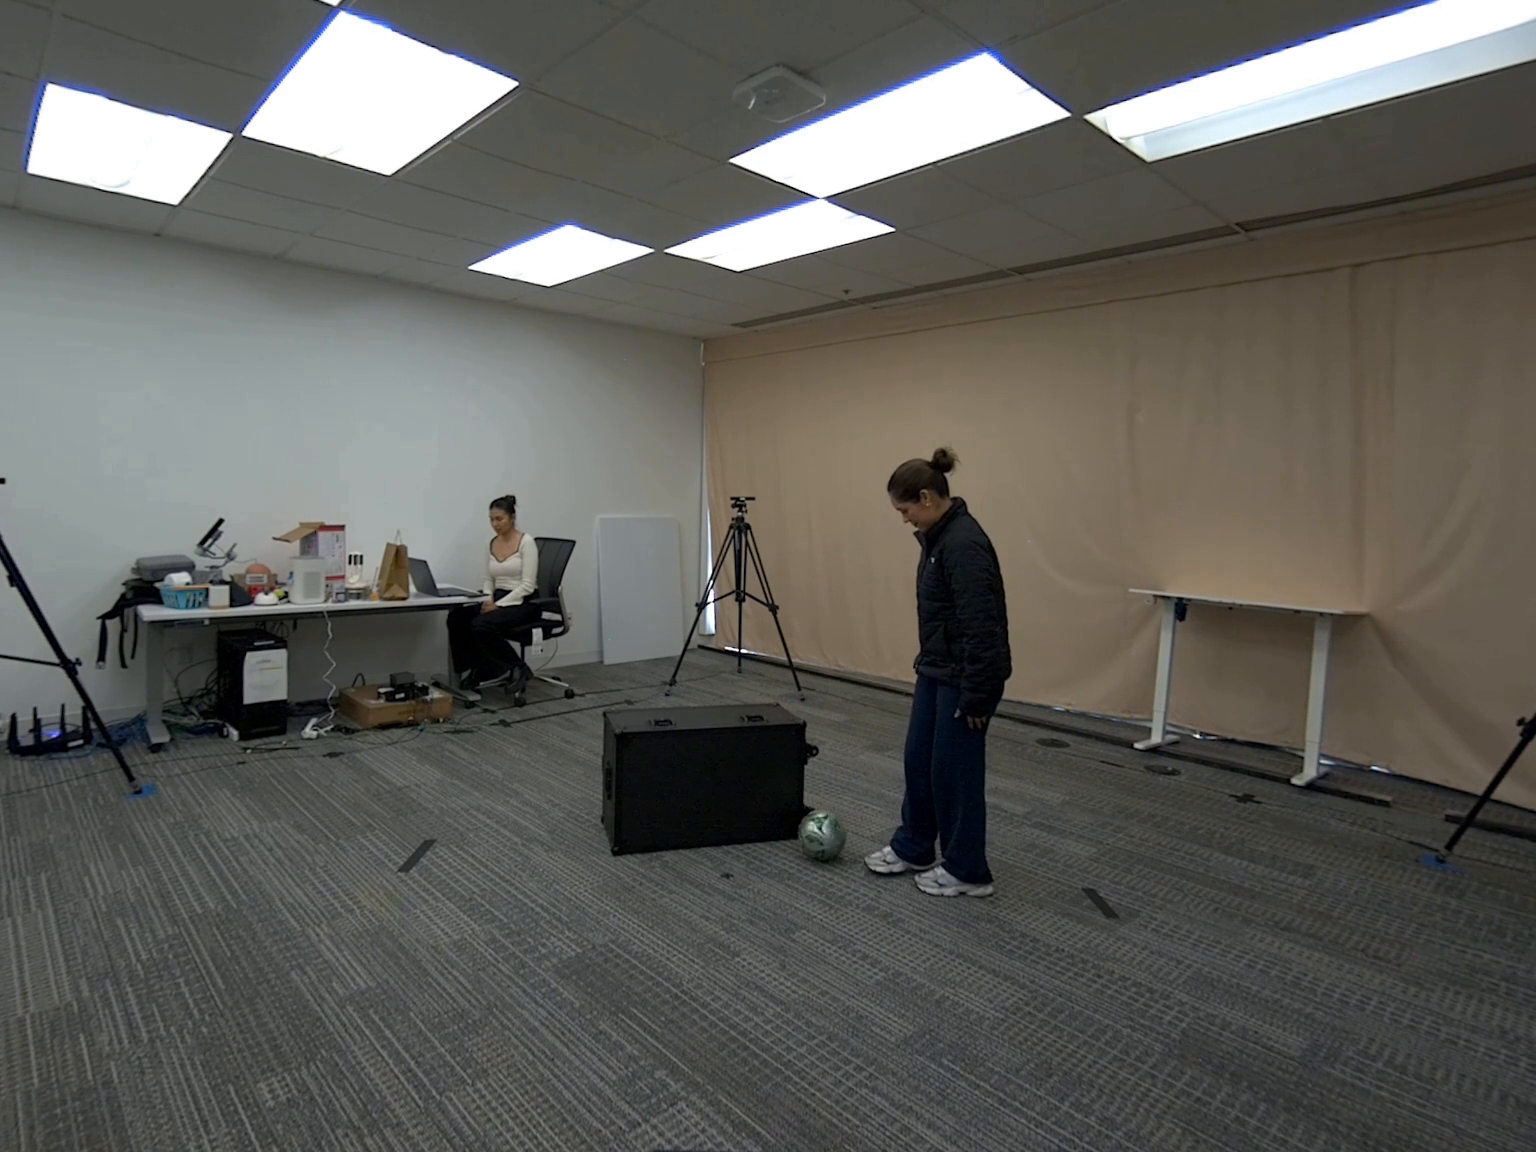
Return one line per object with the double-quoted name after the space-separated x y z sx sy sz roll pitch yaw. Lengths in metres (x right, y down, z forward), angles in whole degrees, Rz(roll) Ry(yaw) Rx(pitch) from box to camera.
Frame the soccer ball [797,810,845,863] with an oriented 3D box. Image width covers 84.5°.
0.197 0.994 3.264 0.187 0.187 0.188 1 4 -1 "soccer ball"
